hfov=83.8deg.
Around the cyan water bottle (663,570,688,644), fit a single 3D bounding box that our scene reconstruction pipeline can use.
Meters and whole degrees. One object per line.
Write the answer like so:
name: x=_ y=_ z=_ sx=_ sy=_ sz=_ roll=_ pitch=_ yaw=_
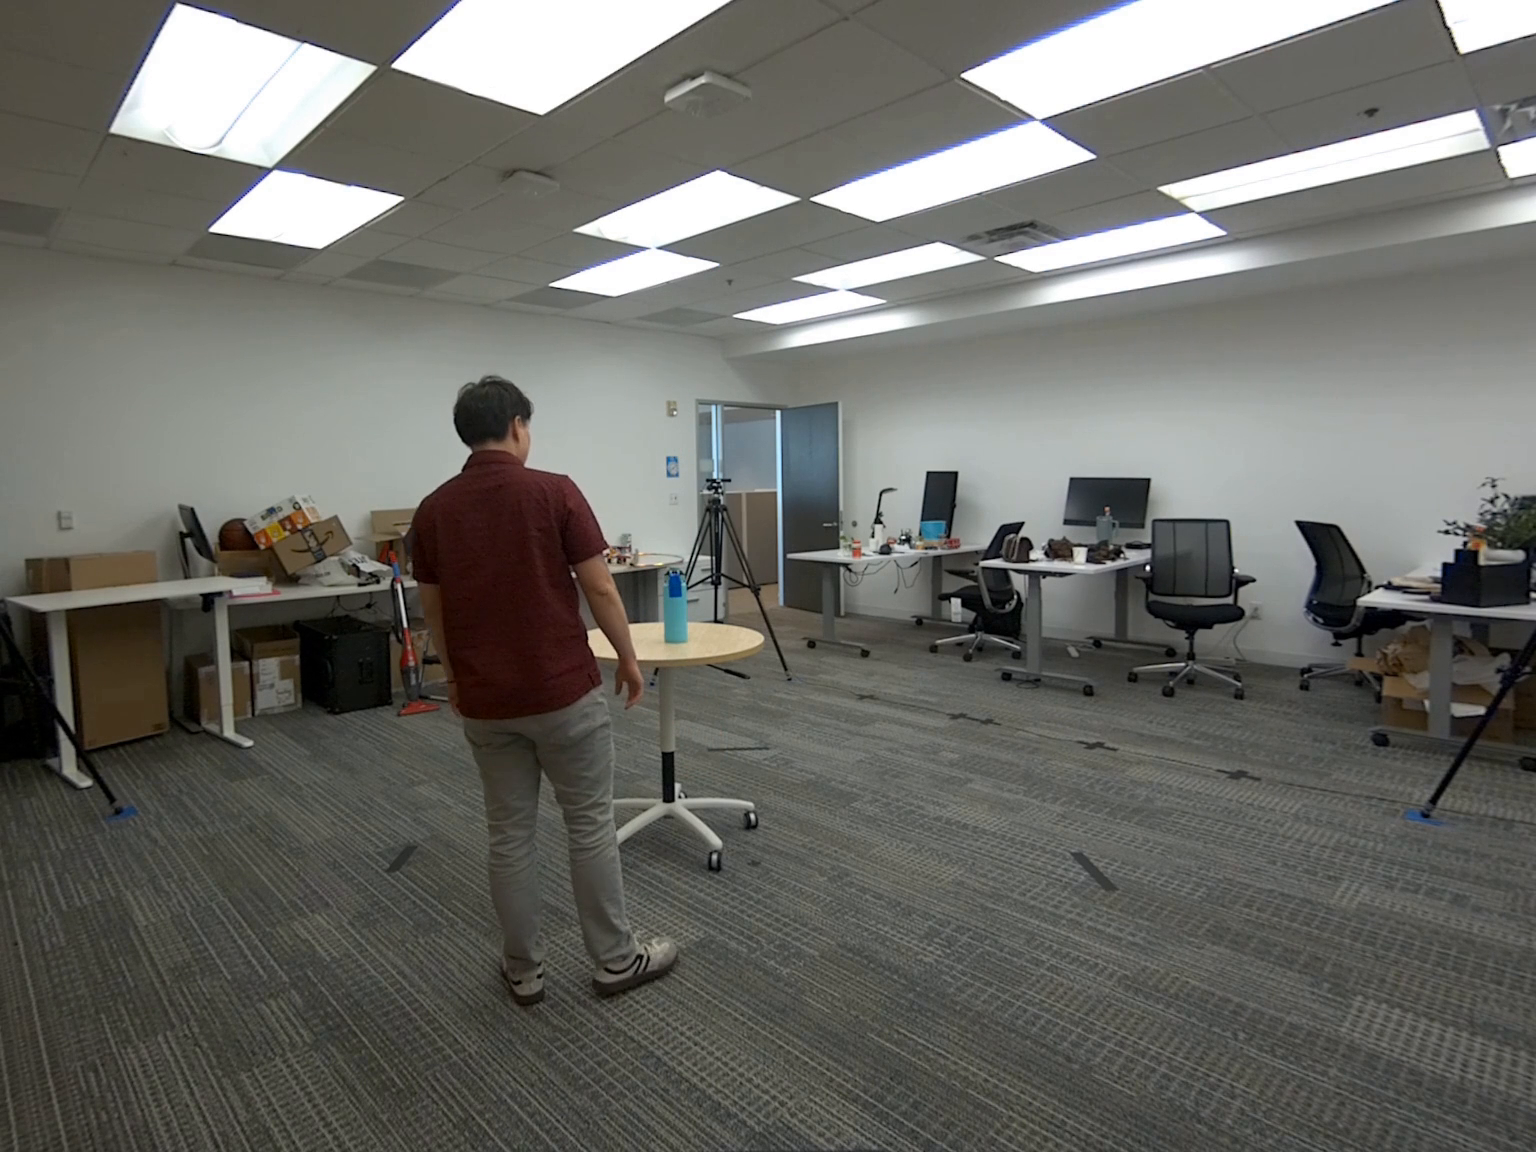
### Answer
cyan water bottle: x=-0.353 y=0.111 z=3.249 sx=0.092 sy=0.282 sz=0.093 roll=0 pitch=5 yaw=-2
